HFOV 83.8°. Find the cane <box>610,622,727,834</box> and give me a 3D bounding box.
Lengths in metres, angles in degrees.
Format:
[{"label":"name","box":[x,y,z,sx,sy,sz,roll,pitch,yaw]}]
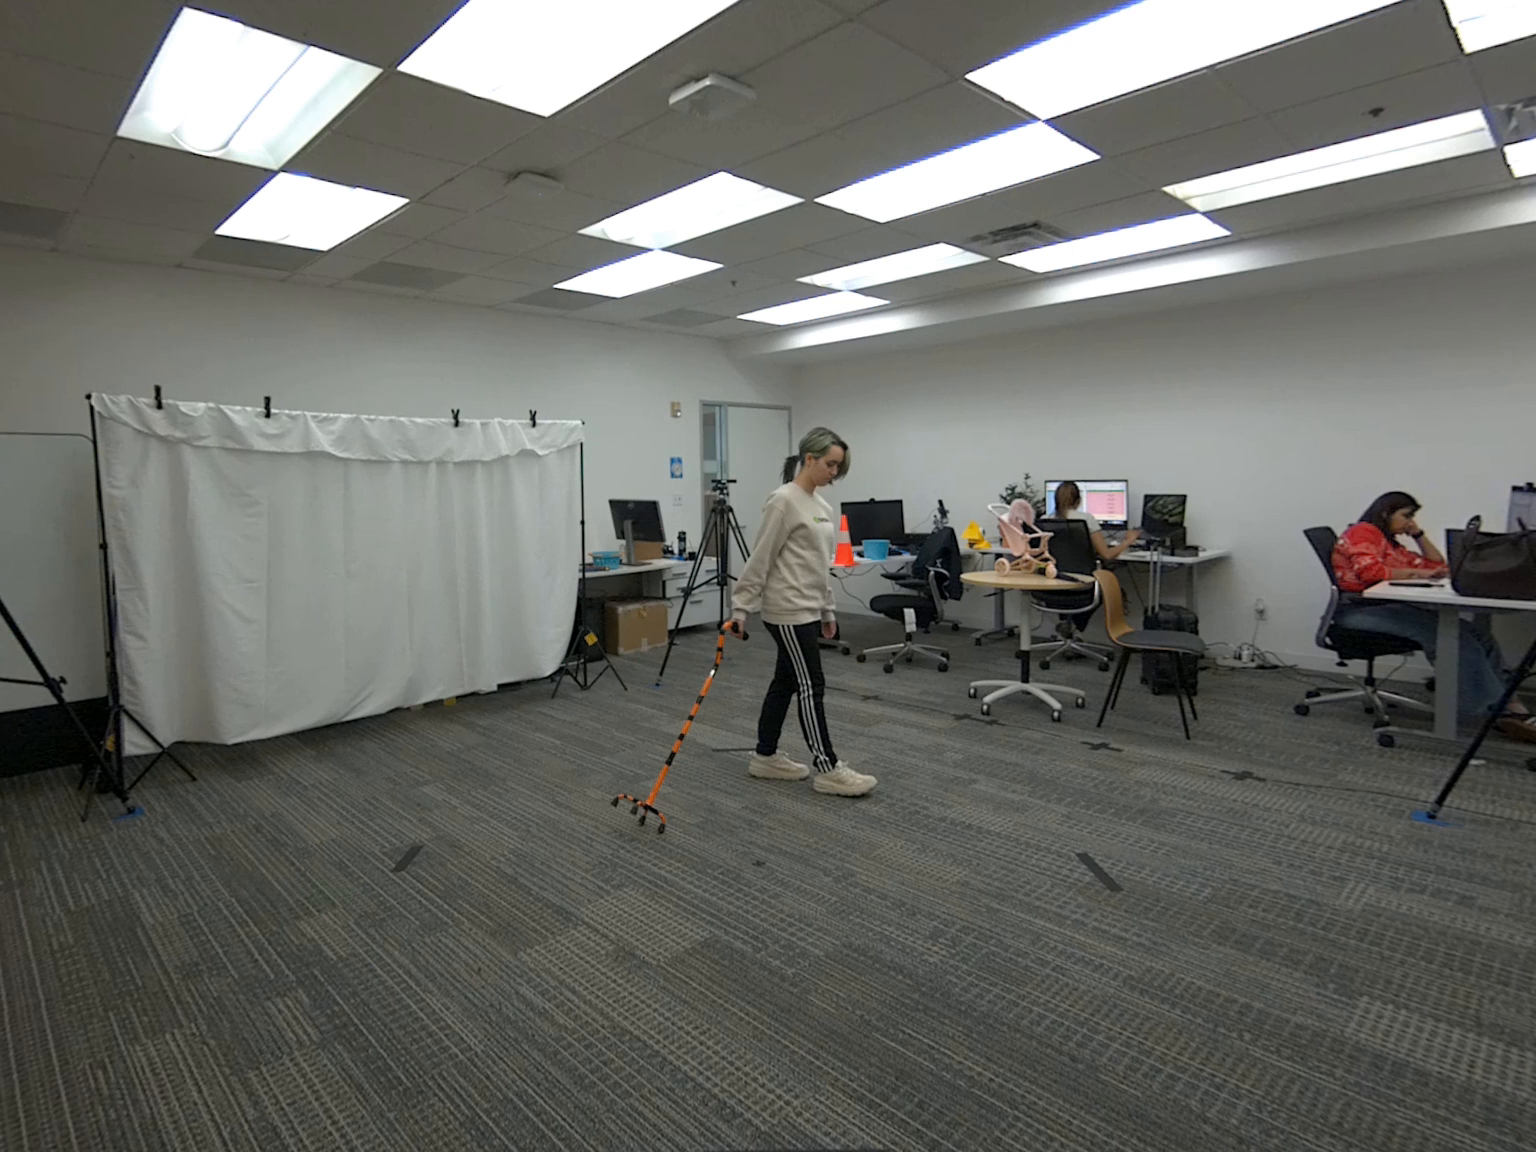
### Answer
[{"label":"cane","box":[-0.336,0.586,3.560,0.156,0.915,0.198,2,-32,42]}]
